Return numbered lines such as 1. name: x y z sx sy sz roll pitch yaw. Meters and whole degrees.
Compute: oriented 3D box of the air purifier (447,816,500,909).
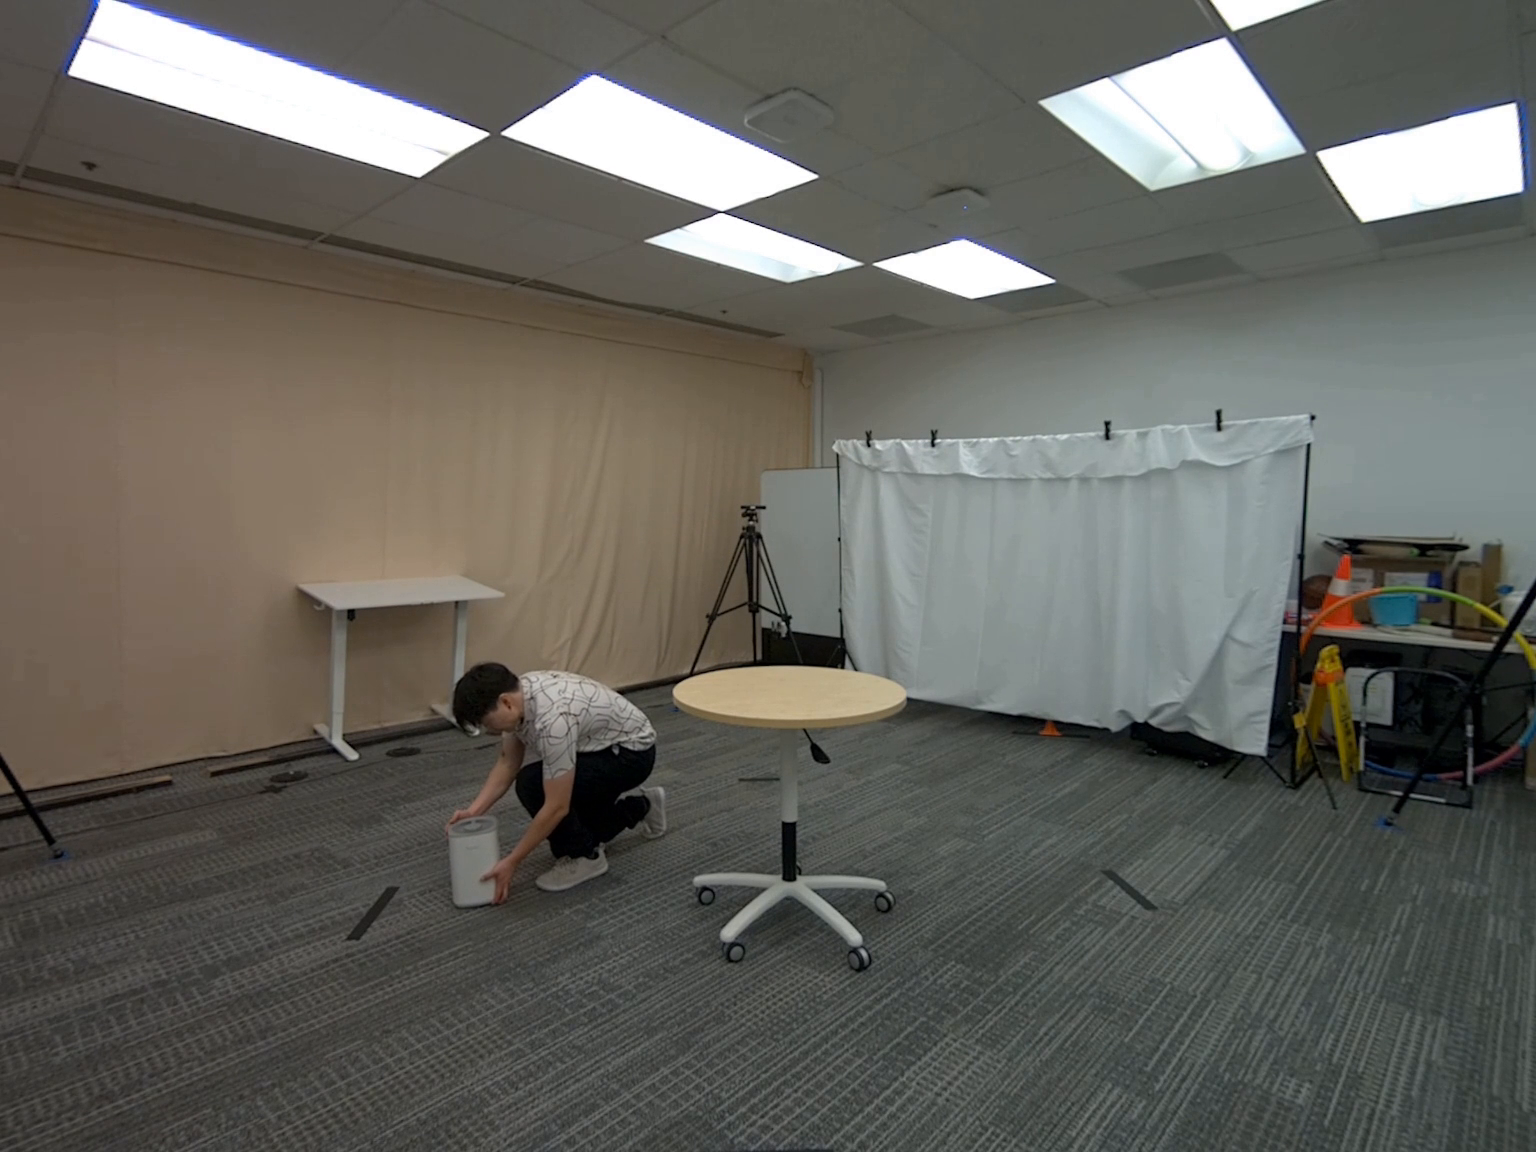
1. air purifier: -1.047 1.024 2.993 0.168 0.264 0.175 -3 5 -19
